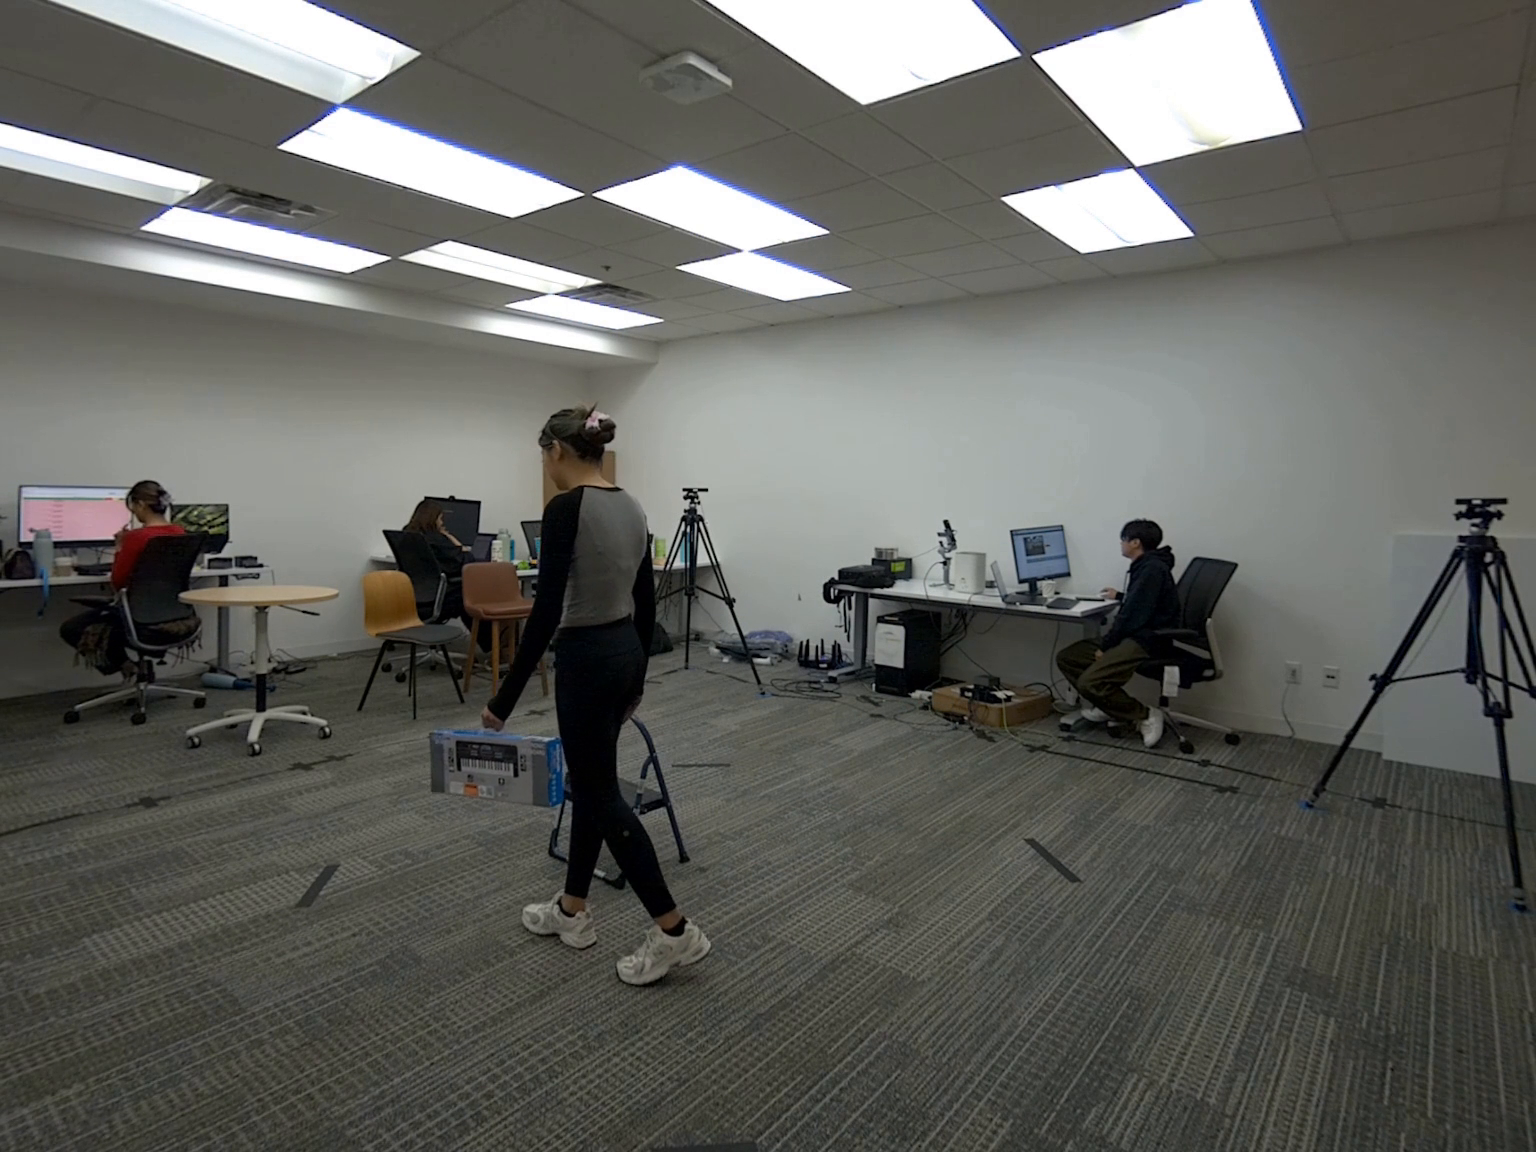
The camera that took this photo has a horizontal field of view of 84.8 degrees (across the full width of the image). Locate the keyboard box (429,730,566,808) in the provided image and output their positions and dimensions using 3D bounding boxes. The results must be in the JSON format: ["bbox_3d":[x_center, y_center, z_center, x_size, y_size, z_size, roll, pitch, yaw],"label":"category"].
[{"bbox_3d":[-0.763,0.522,2.348,0.448,0.176,0.057,-2,-3,28],"label":"keyboard box"}]
